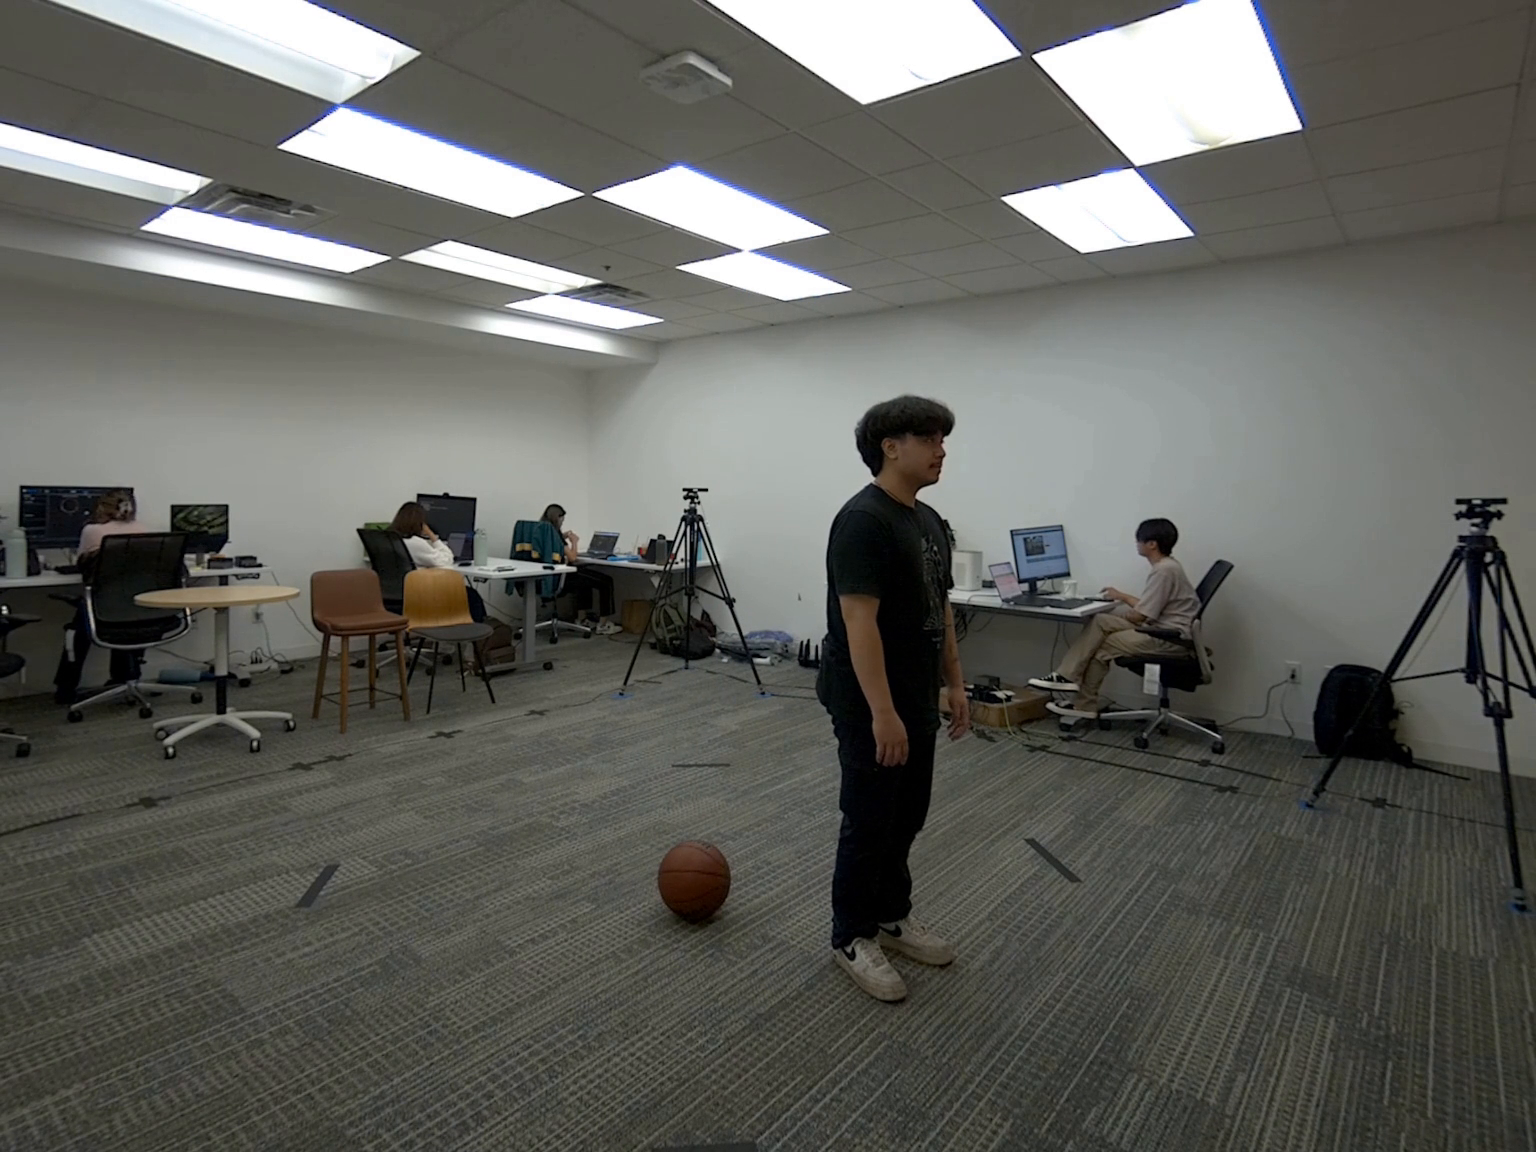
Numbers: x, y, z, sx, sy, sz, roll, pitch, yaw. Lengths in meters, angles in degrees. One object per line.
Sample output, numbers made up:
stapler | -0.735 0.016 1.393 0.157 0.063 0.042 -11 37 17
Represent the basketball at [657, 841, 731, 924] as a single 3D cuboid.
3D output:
basketball | -0.251 0.981 2.767 0.235 0.235 0.237 1 4 -2
